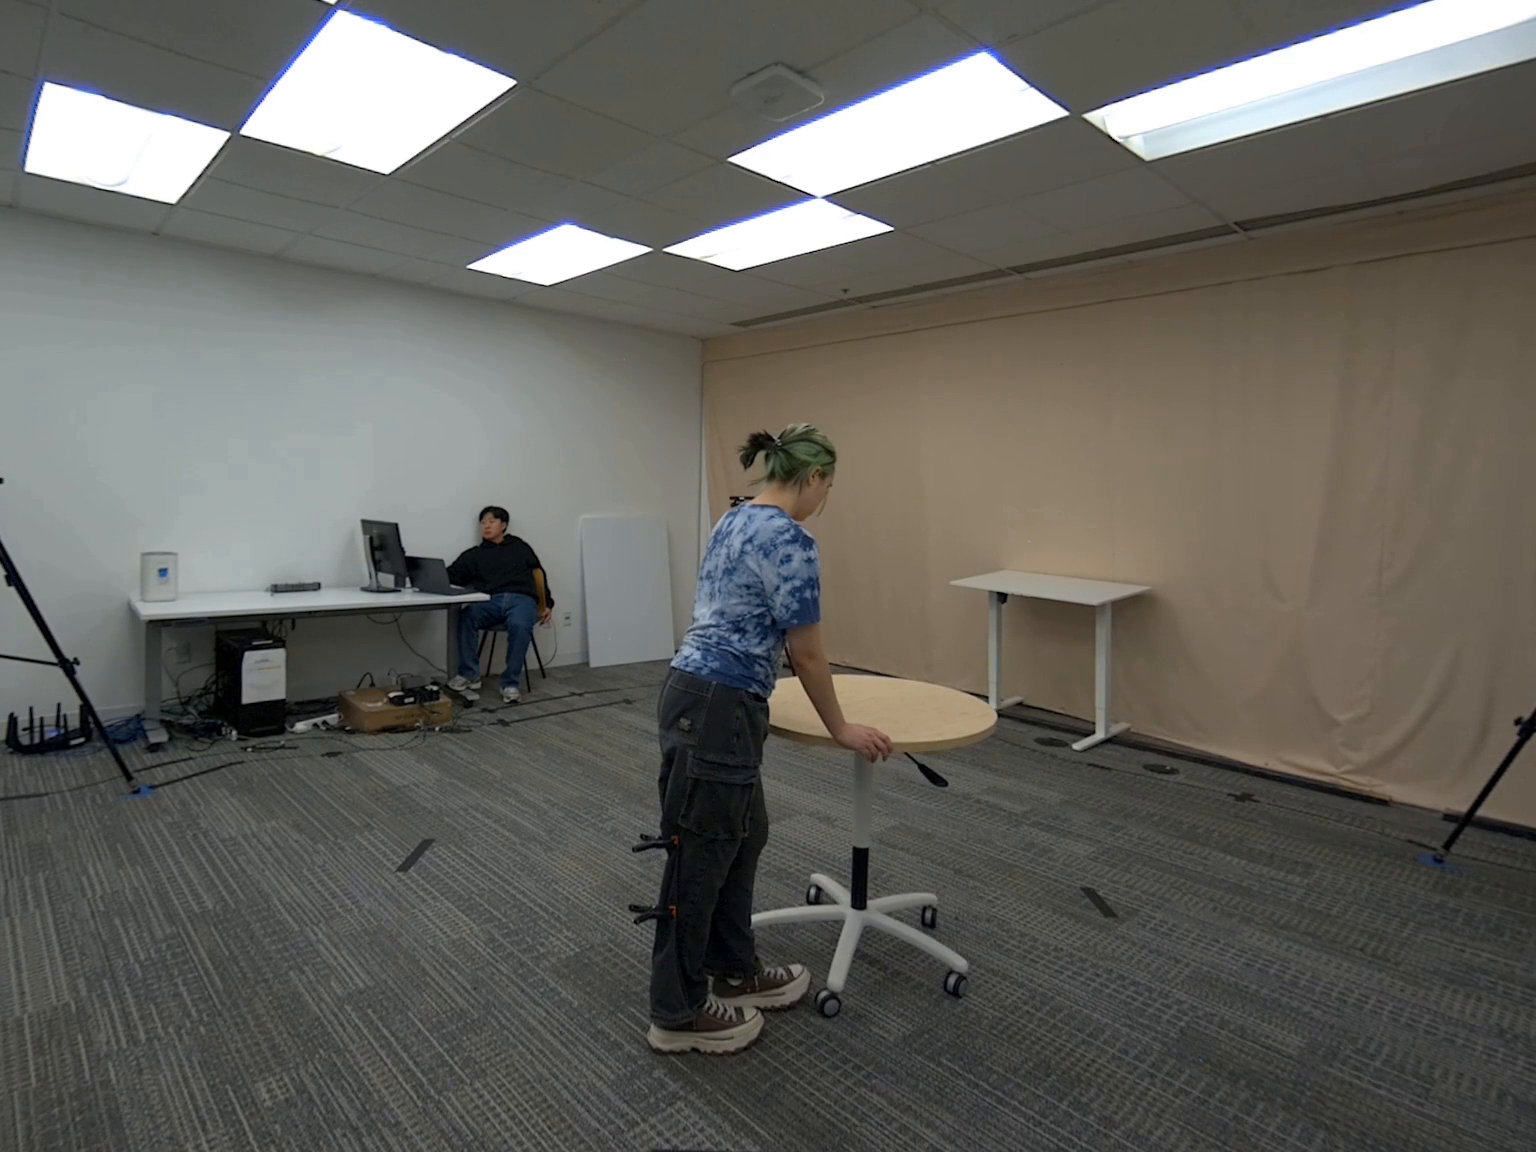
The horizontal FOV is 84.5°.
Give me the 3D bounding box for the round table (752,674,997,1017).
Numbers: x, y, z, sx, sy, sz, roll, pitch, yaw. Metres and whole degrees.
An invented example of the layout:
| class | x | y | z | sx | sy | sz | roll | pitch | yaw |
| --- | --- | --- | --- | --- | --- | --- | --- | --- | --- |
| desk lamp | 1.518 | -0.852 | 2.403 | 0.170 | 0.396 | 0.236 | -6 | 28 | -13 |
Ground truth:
| class | x | y | z | sx | sy | sz | roll | pitch | yaw |
| --- | --- | --- | --- | --- | --- | --- | --- | --- | --- |
| round table | 0.282 | 0.777 | 2.577 | 0.763 | 0.791 | 0.767 | 1 | 5 | -1 |
